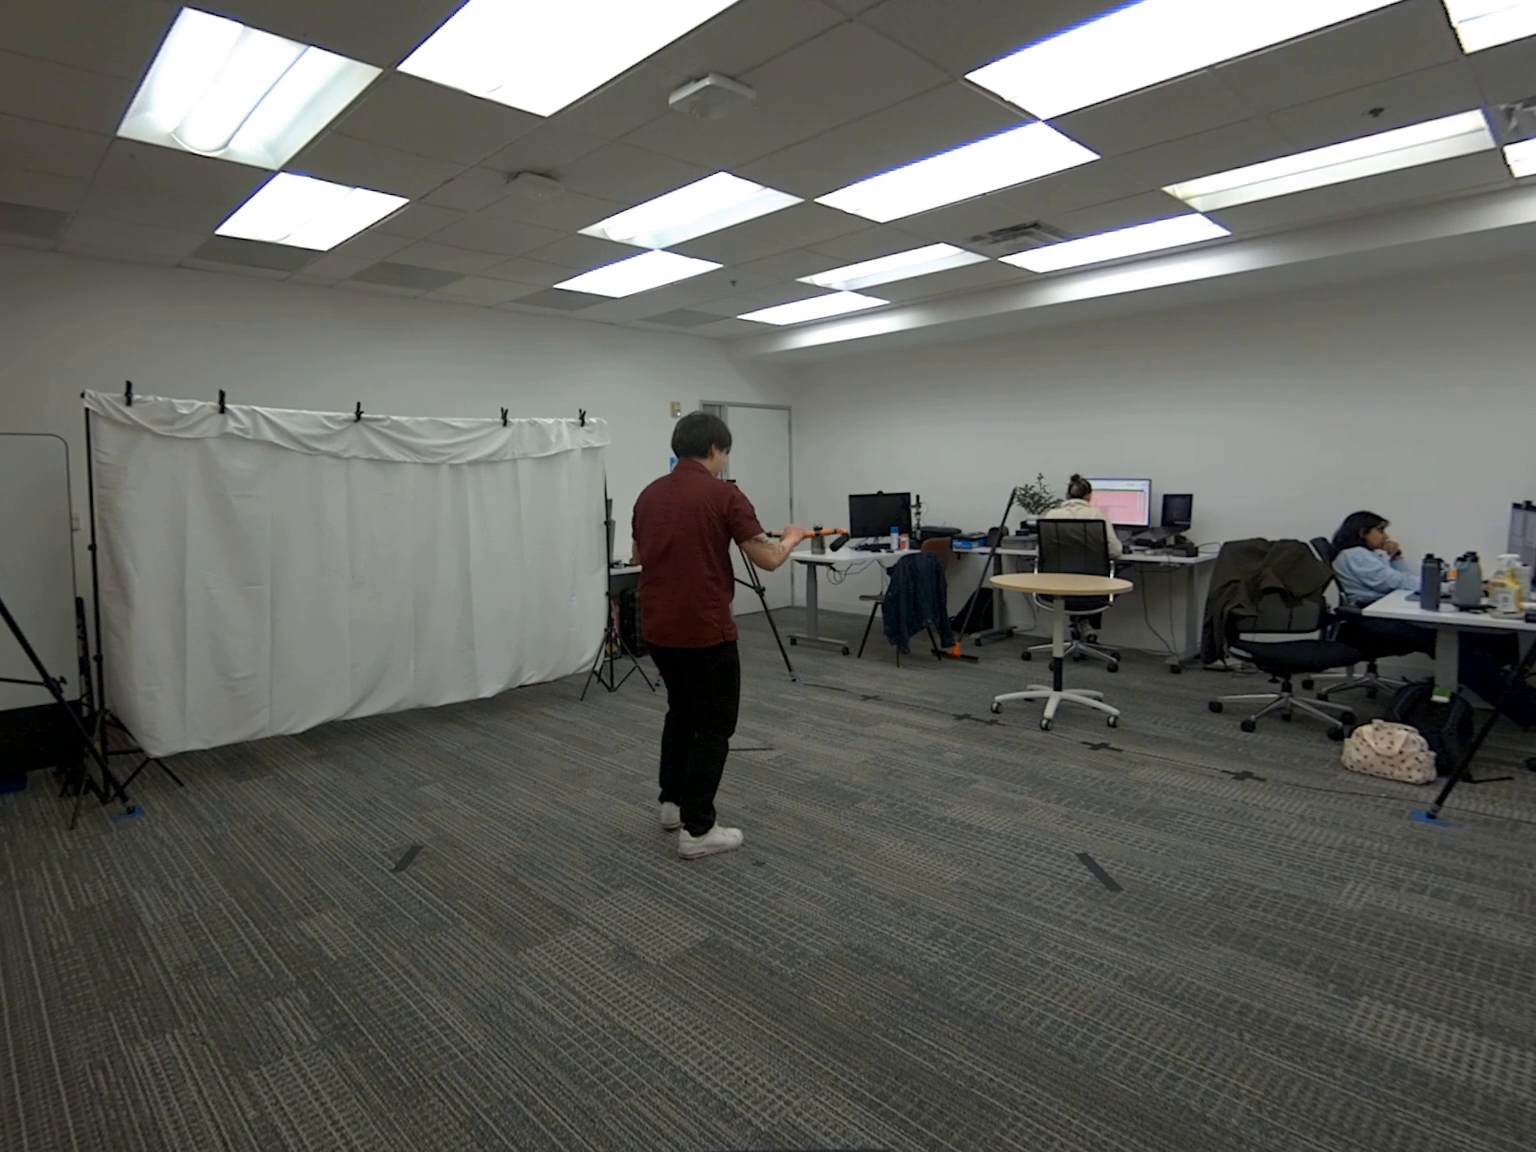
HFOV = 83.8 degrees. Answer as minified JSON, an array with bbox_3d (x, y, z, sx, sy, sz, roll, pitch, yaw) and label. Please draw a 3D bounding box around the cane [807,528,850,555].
[{"bbox_3d":[-0.069,-0.144,3.508,0.934,0.148,0.205,4,25,36],"label":"cane"}]
